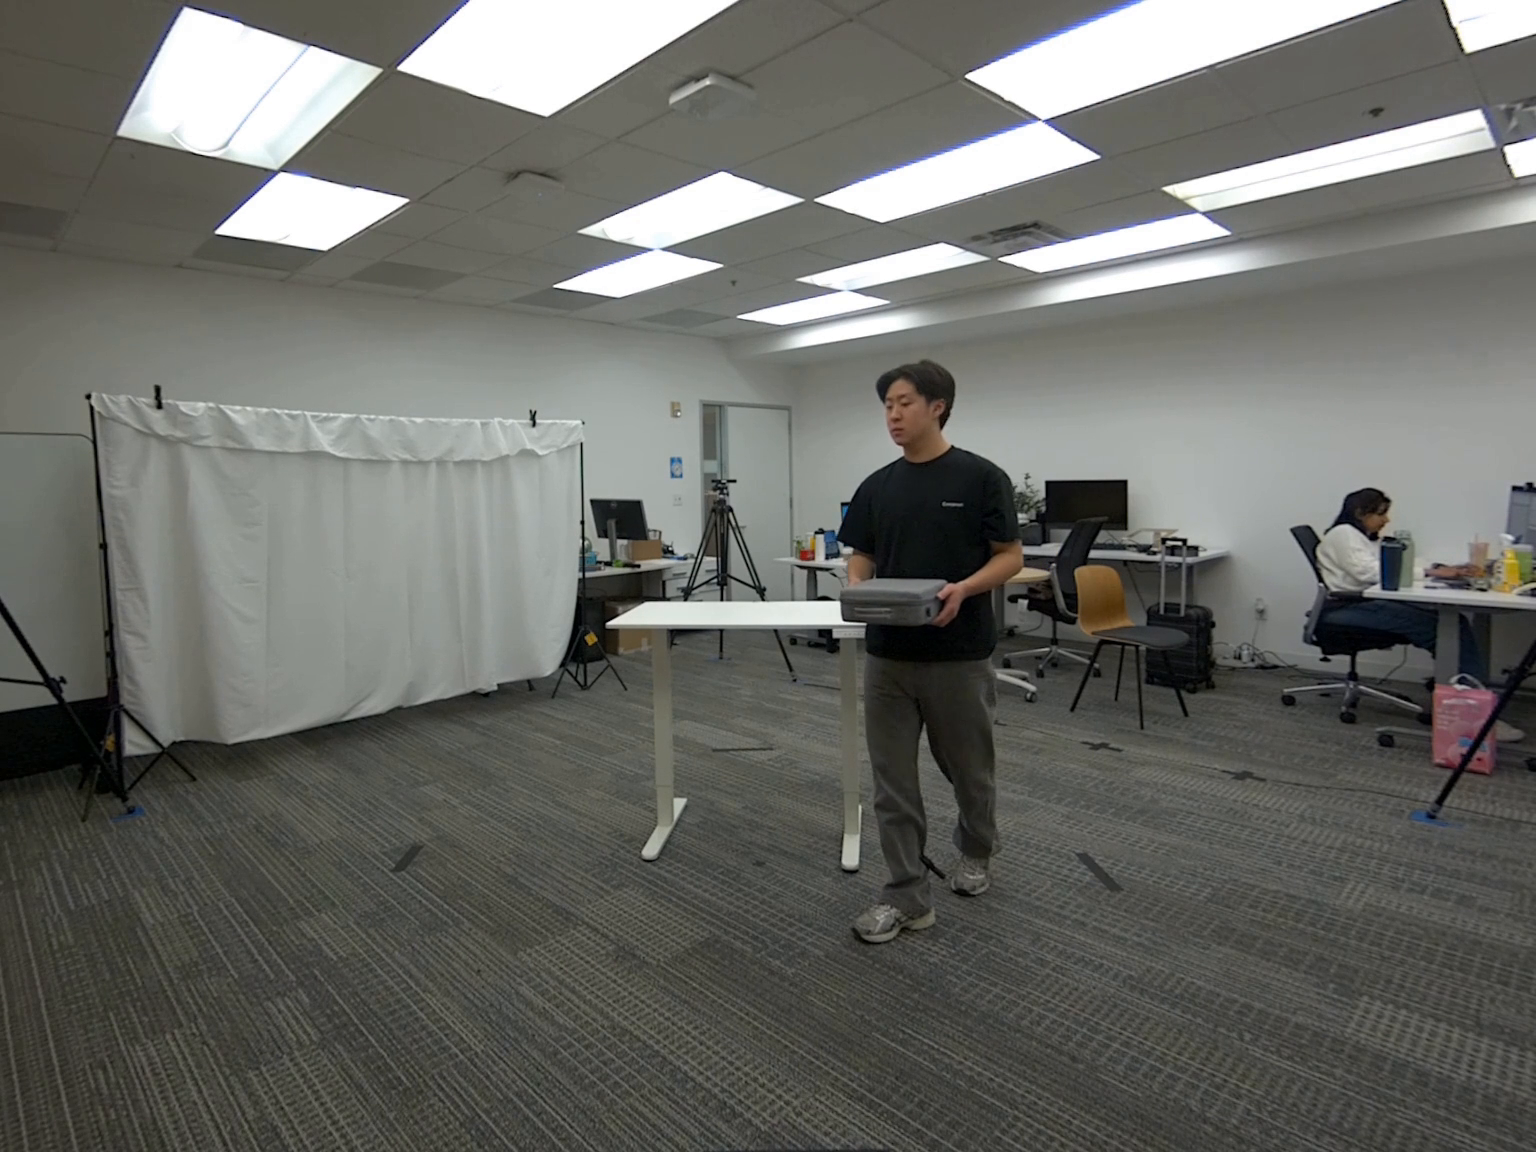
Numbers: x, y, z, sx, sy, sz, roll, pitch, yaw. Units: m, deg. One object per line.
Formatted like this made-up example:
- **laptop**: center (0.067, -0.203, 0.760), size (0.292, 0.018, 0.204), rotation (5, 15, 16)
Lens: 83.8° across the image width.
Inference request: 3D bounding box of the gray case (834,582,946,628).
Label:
- **gray case**: center (0.358, 0.082, 2.426), size (0.292, 0.103, 0.259), rotation (1, 4, 19)
